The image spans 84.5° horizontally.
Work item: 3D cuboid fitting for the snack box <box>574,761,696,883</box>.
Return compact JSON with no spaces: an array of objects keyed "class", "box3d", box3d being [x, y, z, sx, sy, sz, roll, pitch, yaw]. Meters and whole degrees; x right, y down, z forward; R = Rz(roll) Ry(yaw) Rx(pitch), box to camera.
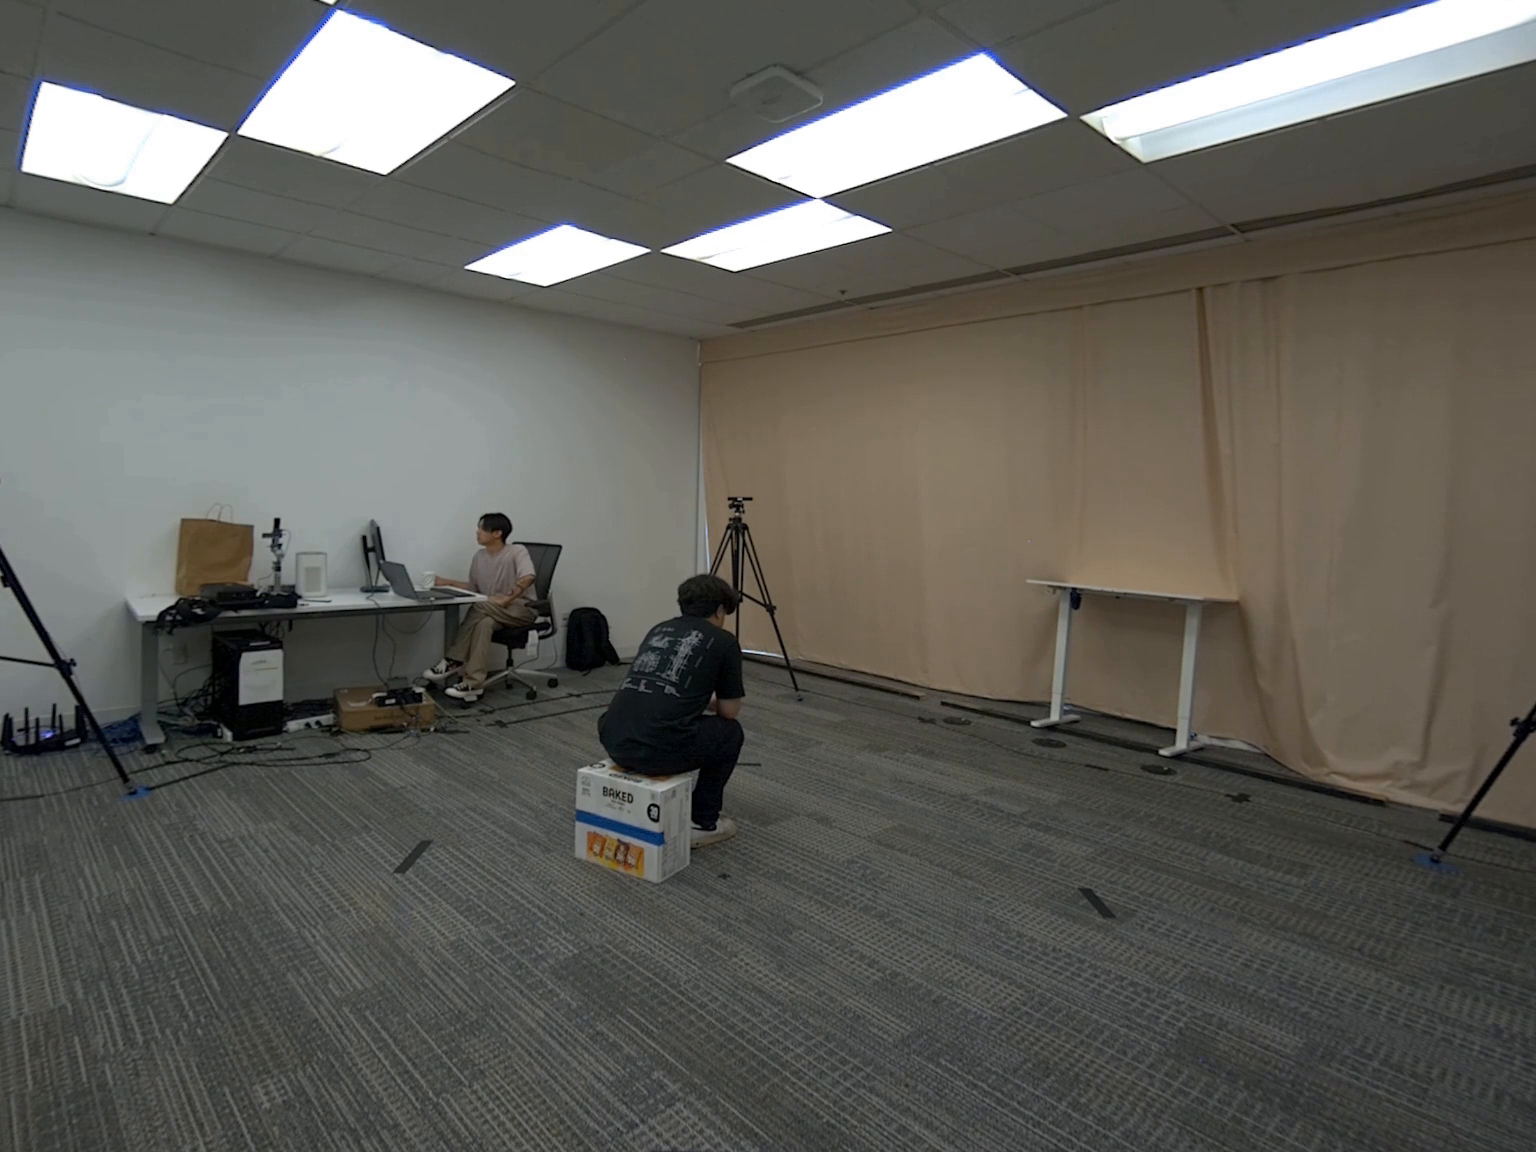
[{"class":"snack box","box3d":[-0.522,0.923,3.210,0.414,0.339,0.202,4,5,31]}]
